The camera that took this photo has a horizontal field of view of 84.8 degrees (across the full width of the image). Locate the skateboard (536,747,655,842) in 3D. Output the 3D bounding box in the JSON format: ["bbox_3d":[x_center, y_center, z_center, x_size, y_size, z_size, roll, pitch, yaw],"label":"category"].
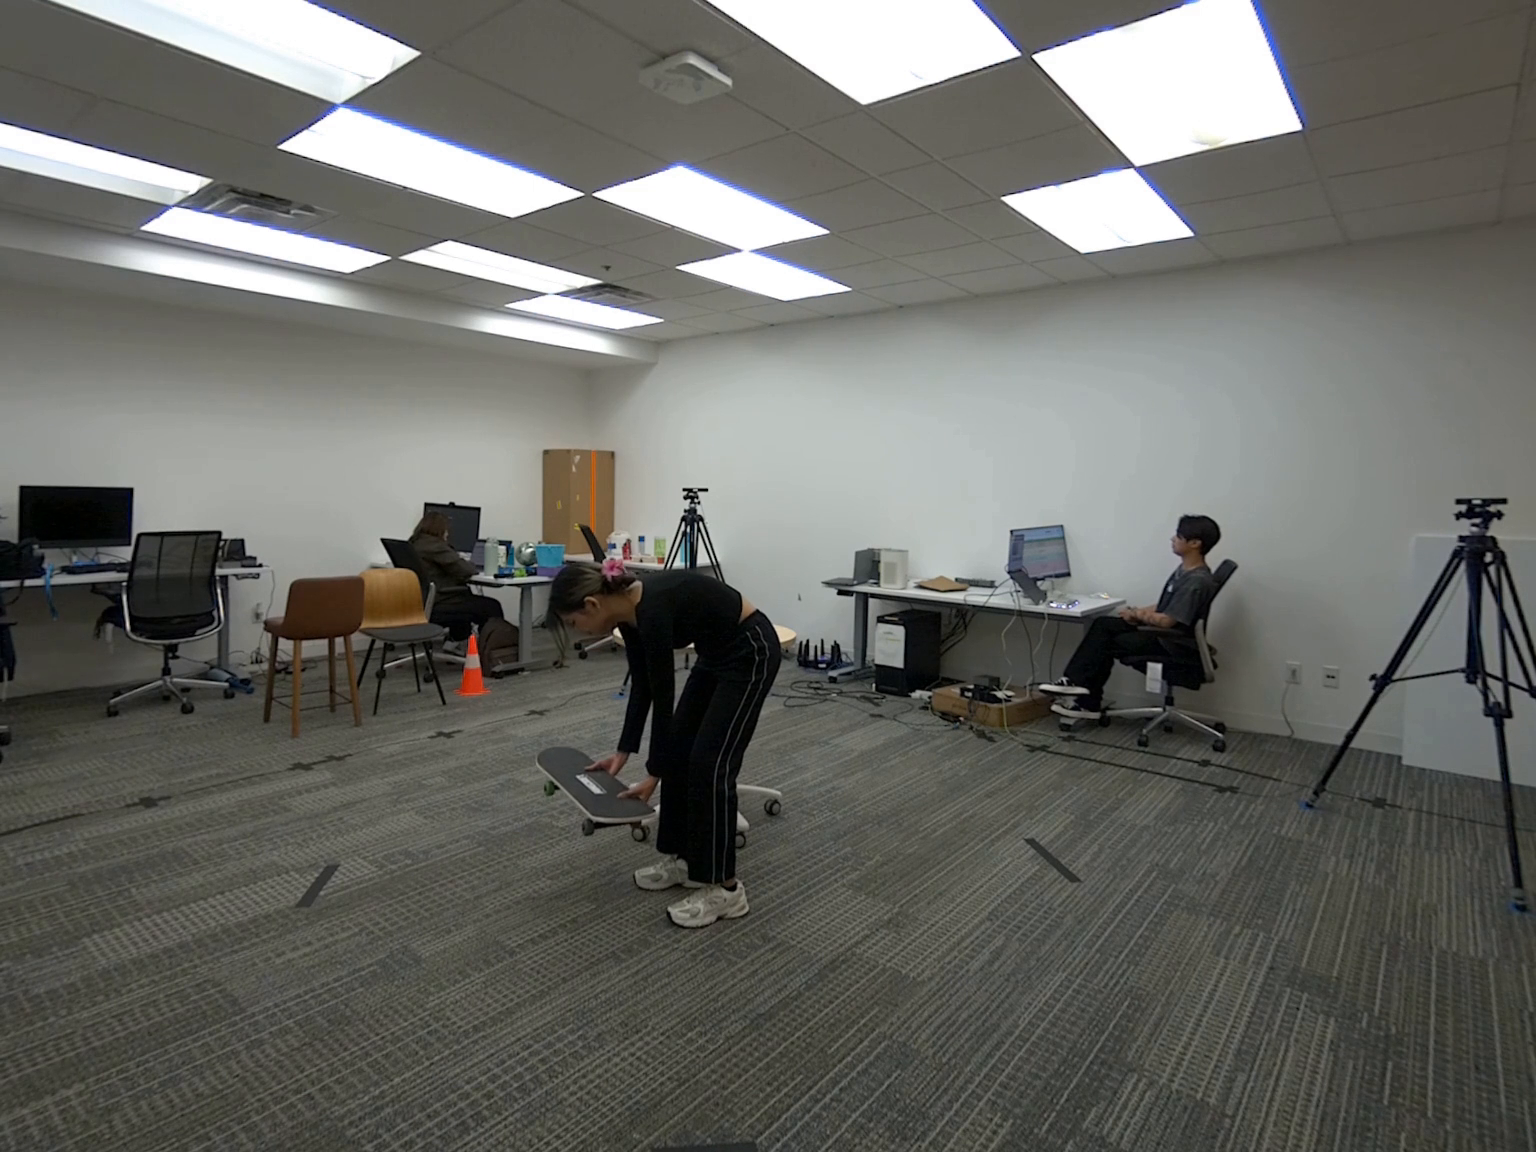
[{"bbox_3d":[-0.592,0.706,2.762,0.188,0.110,0.808,1,4,-30],"label":"skateboard"}]
